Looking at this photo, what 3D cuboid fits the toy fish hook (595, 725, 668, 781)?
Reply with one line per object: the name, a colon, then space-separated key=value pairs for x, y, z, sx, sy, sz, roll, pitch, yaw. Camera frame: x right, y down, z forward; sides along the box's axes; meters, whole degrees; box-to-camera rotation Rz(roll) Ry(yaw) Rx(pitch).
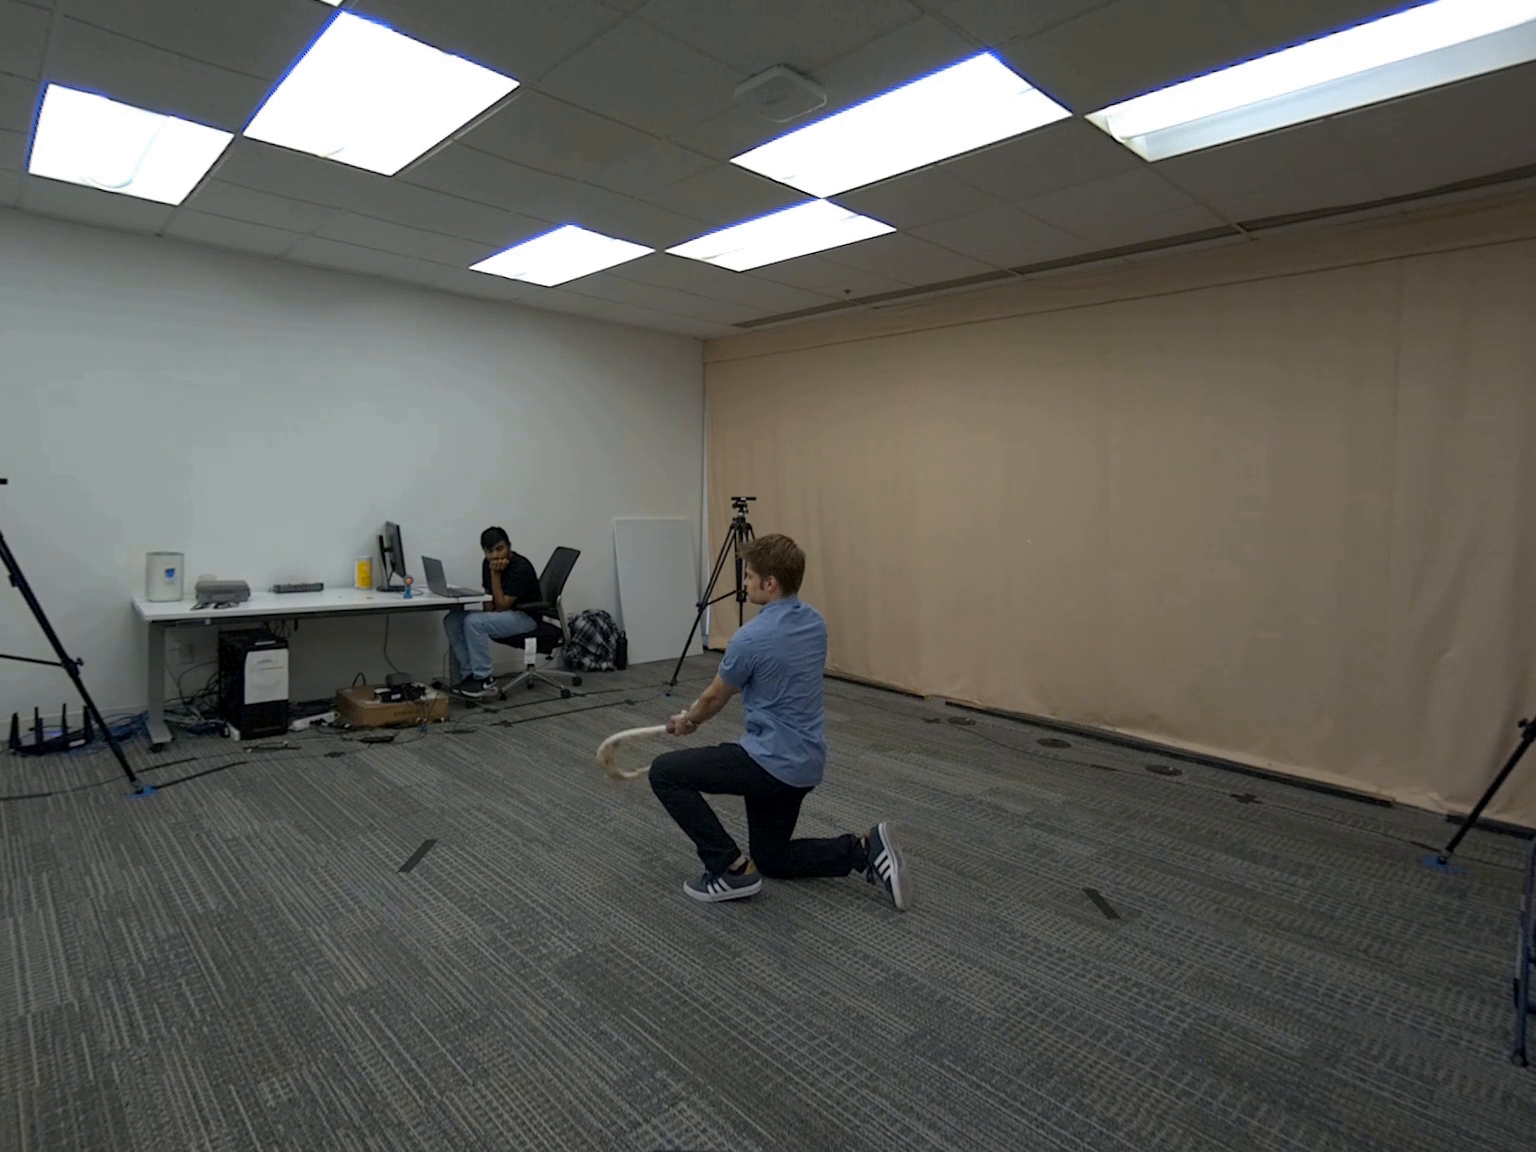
toy fish hook: x=-0.447 y=0.637 z=3.347 sx=0.507 sy=0.220 sz=0.049 roll=-21 pitch=23 yaw=2
